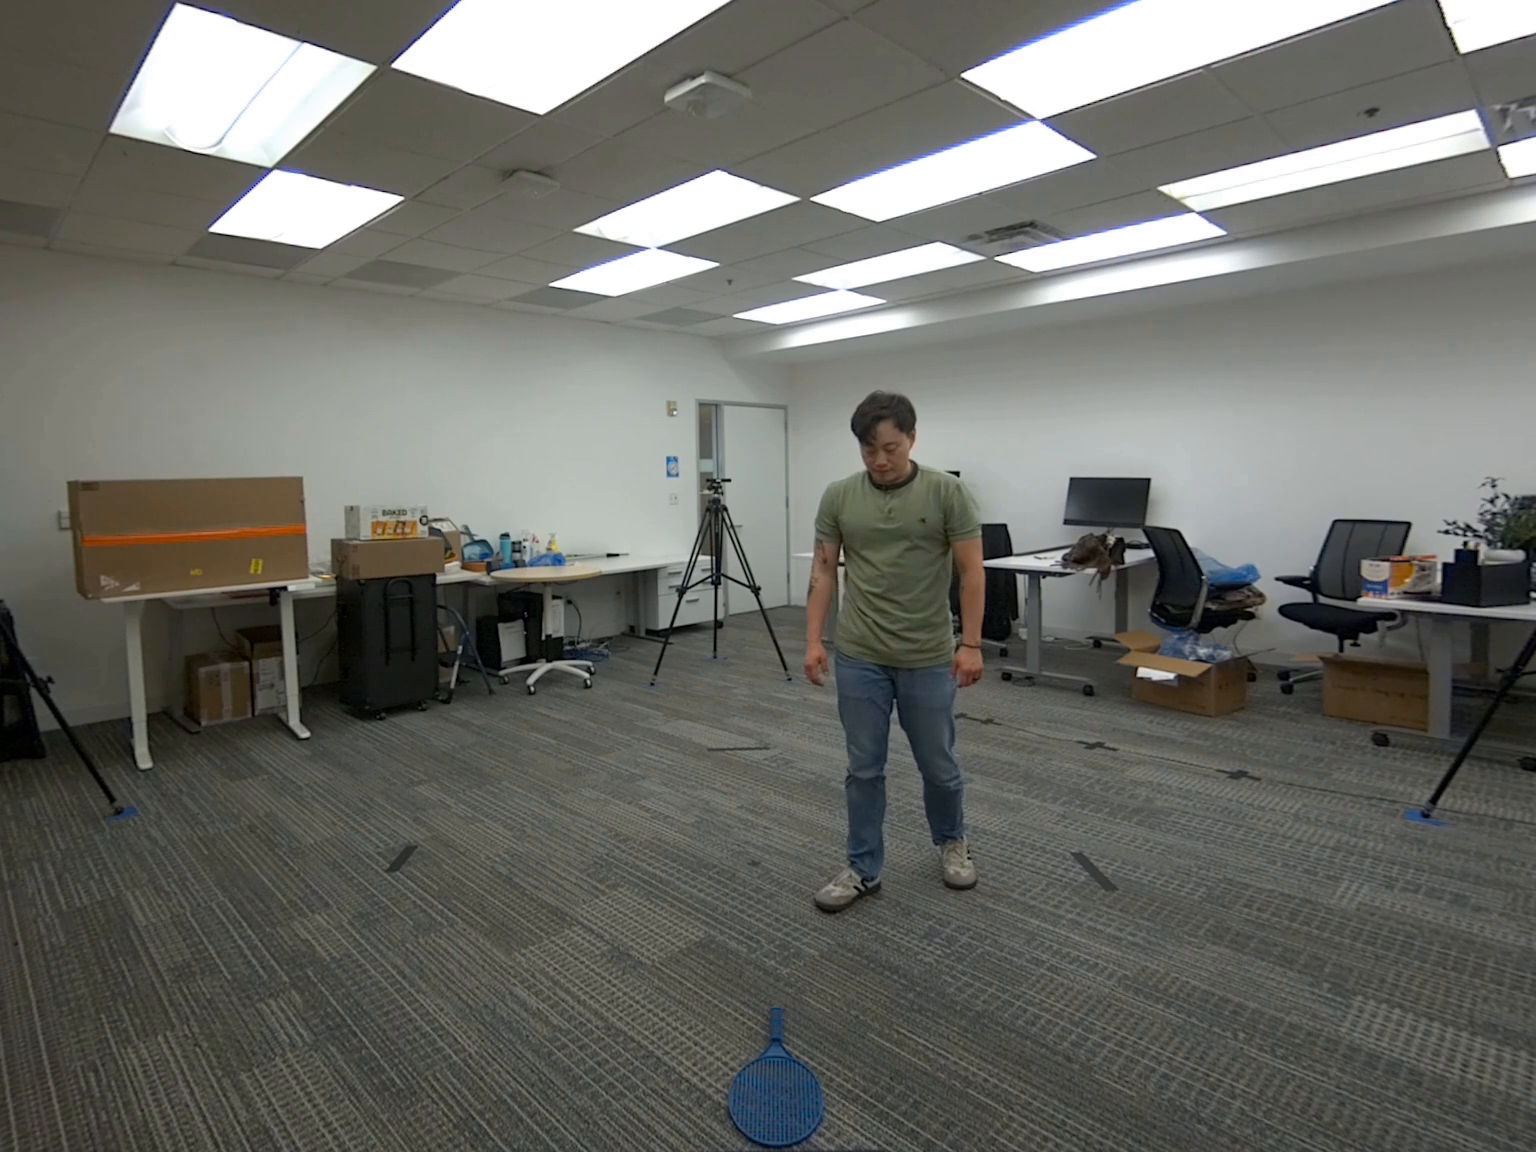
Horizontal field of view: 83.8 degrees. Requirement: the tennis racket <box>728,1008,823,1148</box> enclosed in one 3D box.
[{"bbox_3d":[0.030,1.160,2.007,0.215,0.031,0.433,-1,8,3],"label":"tennis racket"}]
